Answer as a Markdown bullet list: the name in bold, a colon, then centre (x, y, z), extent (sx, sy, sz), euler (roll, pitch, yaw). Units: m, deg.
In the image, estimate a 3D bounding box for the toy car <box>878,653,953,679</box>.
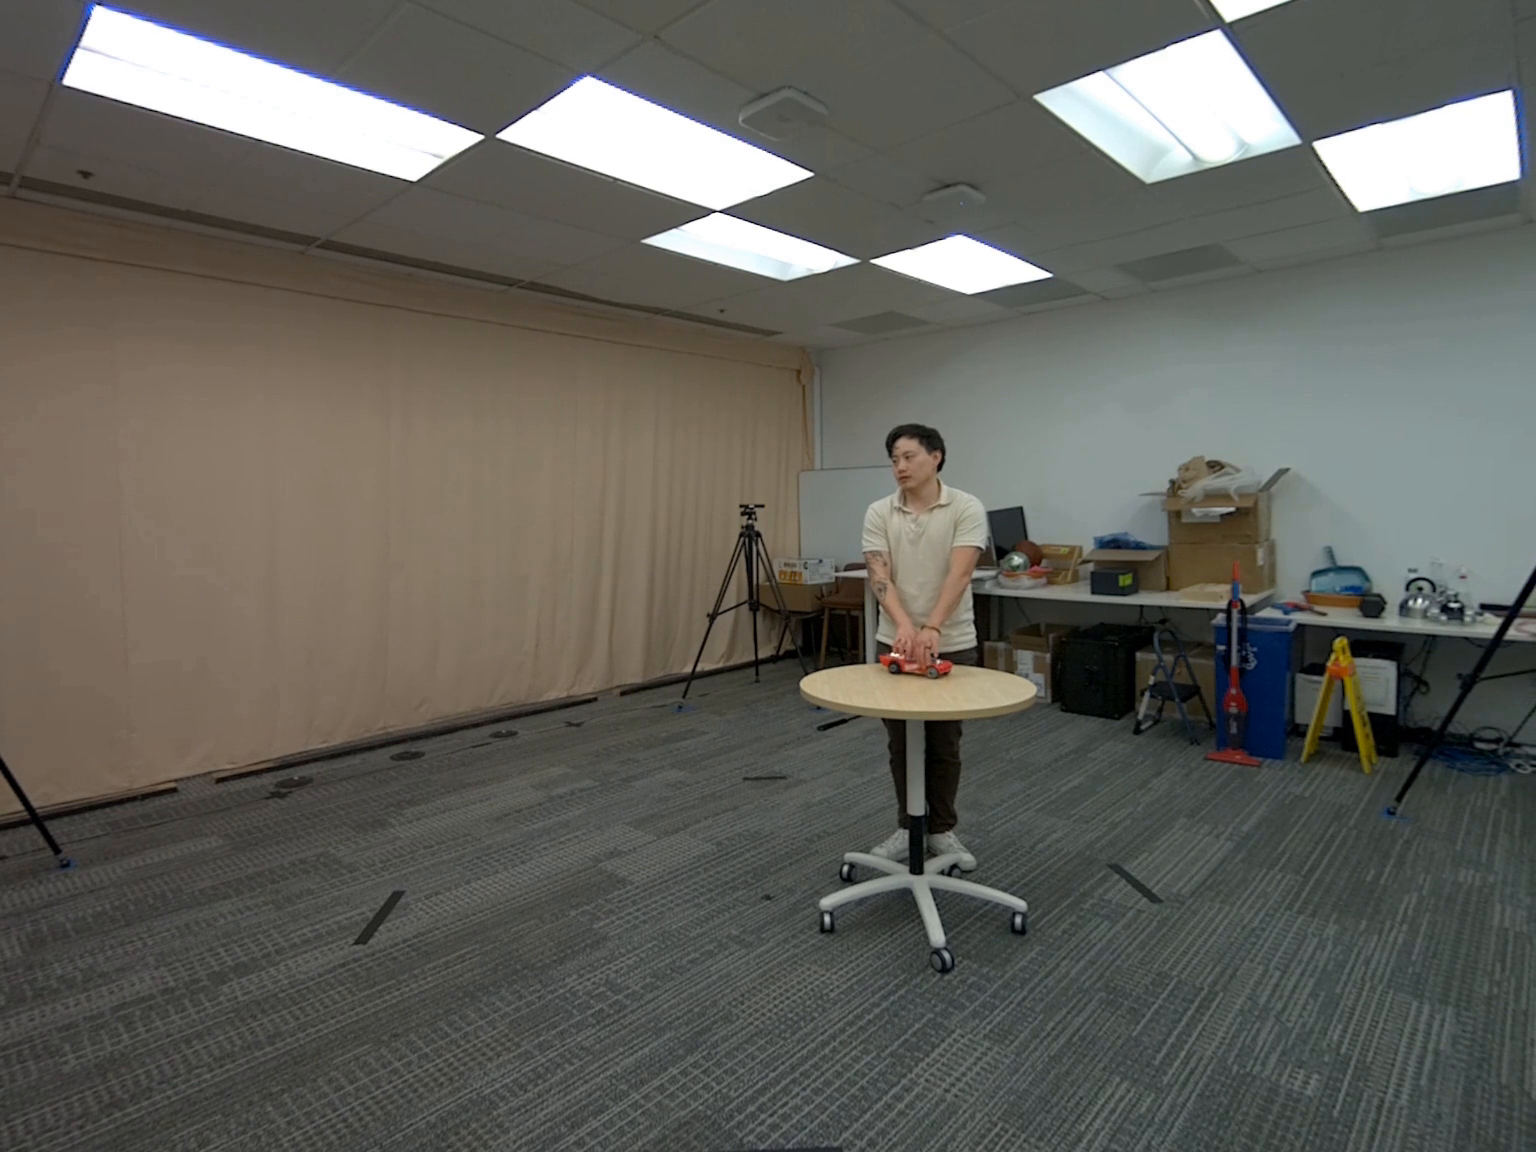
- **toy car**: centre (0.527, 0.317, 2.979), extent (0.264, 0.083, 0.126), euler (16, 14, 39)
